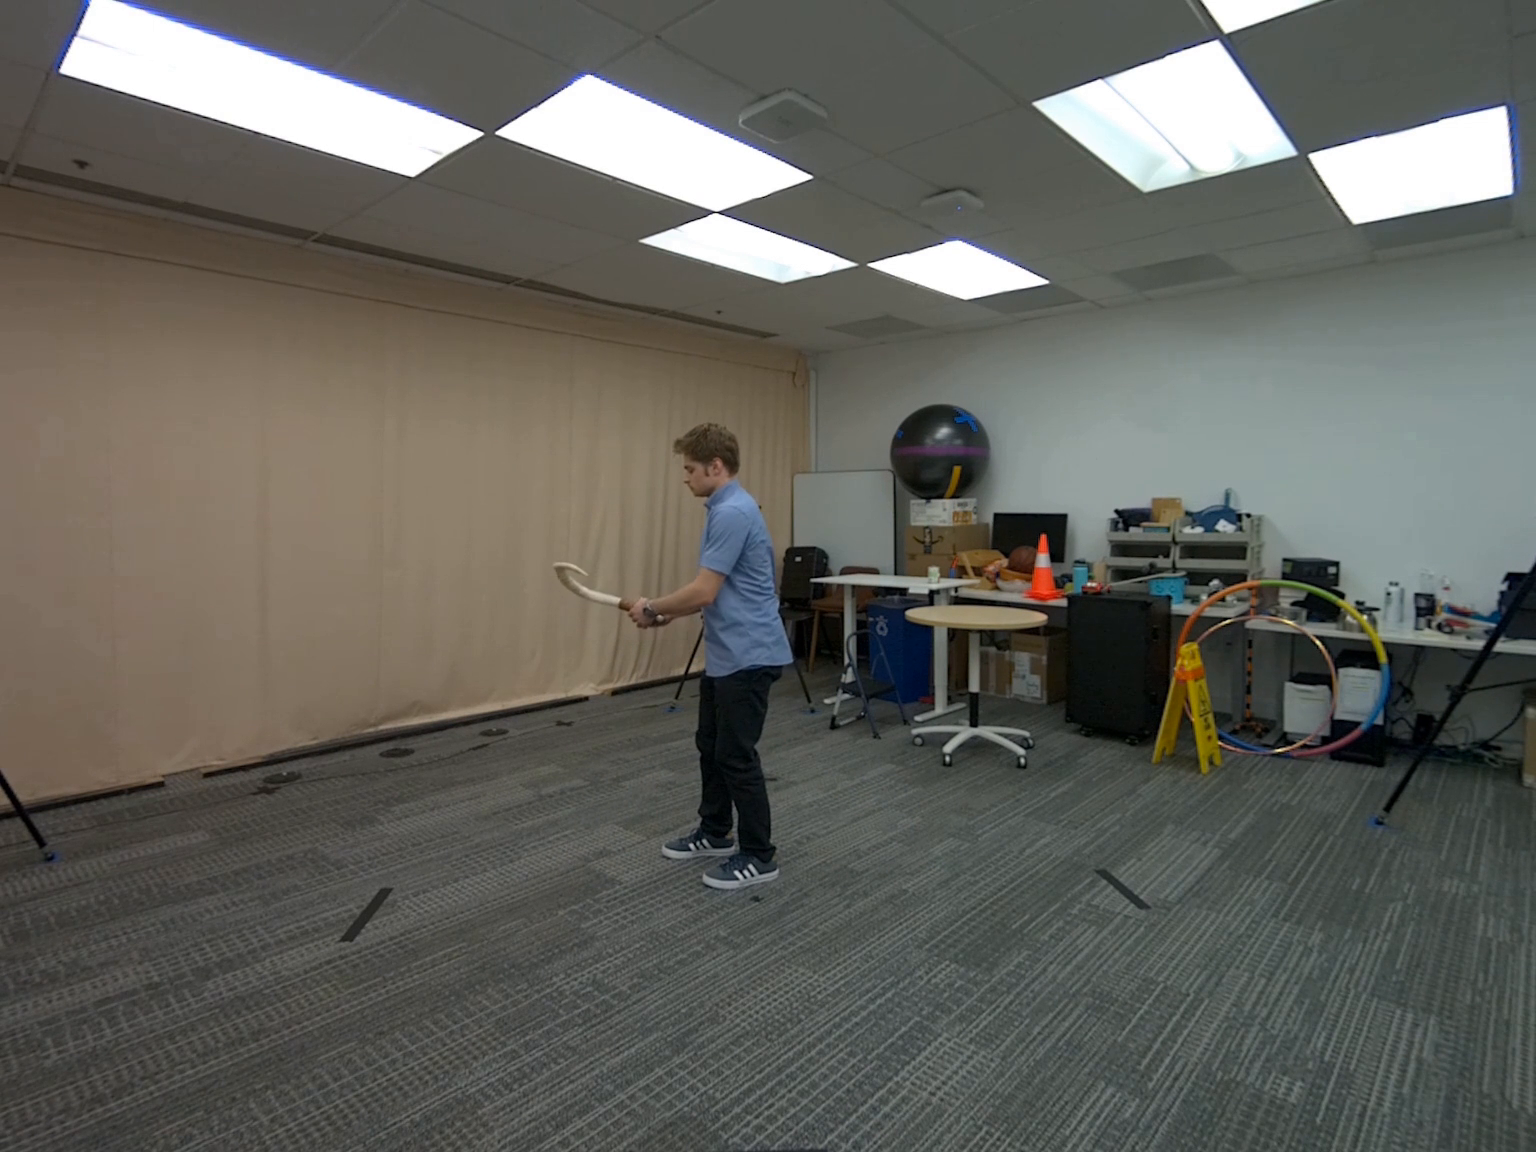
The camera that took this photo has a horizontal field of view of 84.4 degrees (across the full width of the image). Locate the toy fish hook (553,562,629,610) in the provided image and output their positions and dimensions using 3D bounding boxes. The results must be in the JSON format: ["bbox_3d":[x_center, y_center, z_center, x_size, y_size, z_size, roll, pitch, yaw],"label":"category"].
[{"bbox_3d":[-0.618,0.072,3.223,0.521,0.048,0.218,19,-27,25],"label":"toy fish hook"}]
